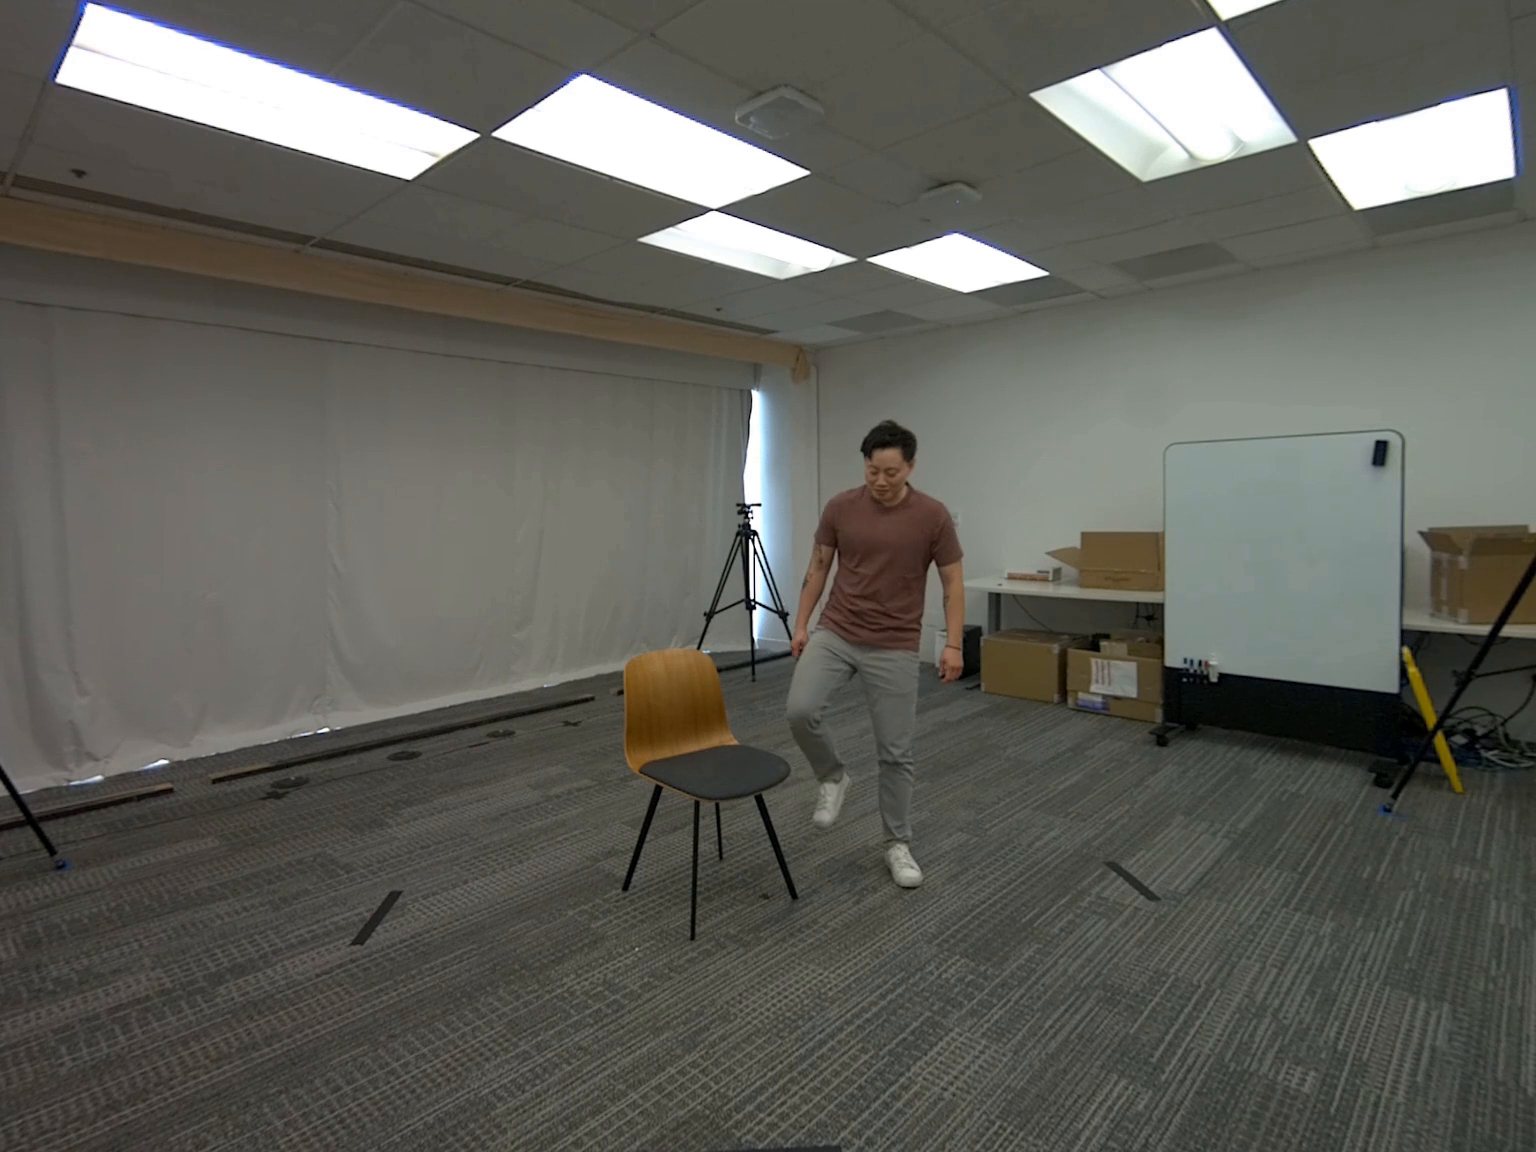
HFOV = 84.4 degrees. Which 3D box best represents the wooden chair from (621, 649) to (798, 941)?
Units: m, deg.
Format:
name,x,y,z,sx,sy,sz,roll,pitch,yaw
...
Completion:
name,x,y,z,sx,sy,sz,roll,pitch,yaw
wooden chair,-0.214,0.714,2.961,0.464,0.877,0.539,-4,0,-38
